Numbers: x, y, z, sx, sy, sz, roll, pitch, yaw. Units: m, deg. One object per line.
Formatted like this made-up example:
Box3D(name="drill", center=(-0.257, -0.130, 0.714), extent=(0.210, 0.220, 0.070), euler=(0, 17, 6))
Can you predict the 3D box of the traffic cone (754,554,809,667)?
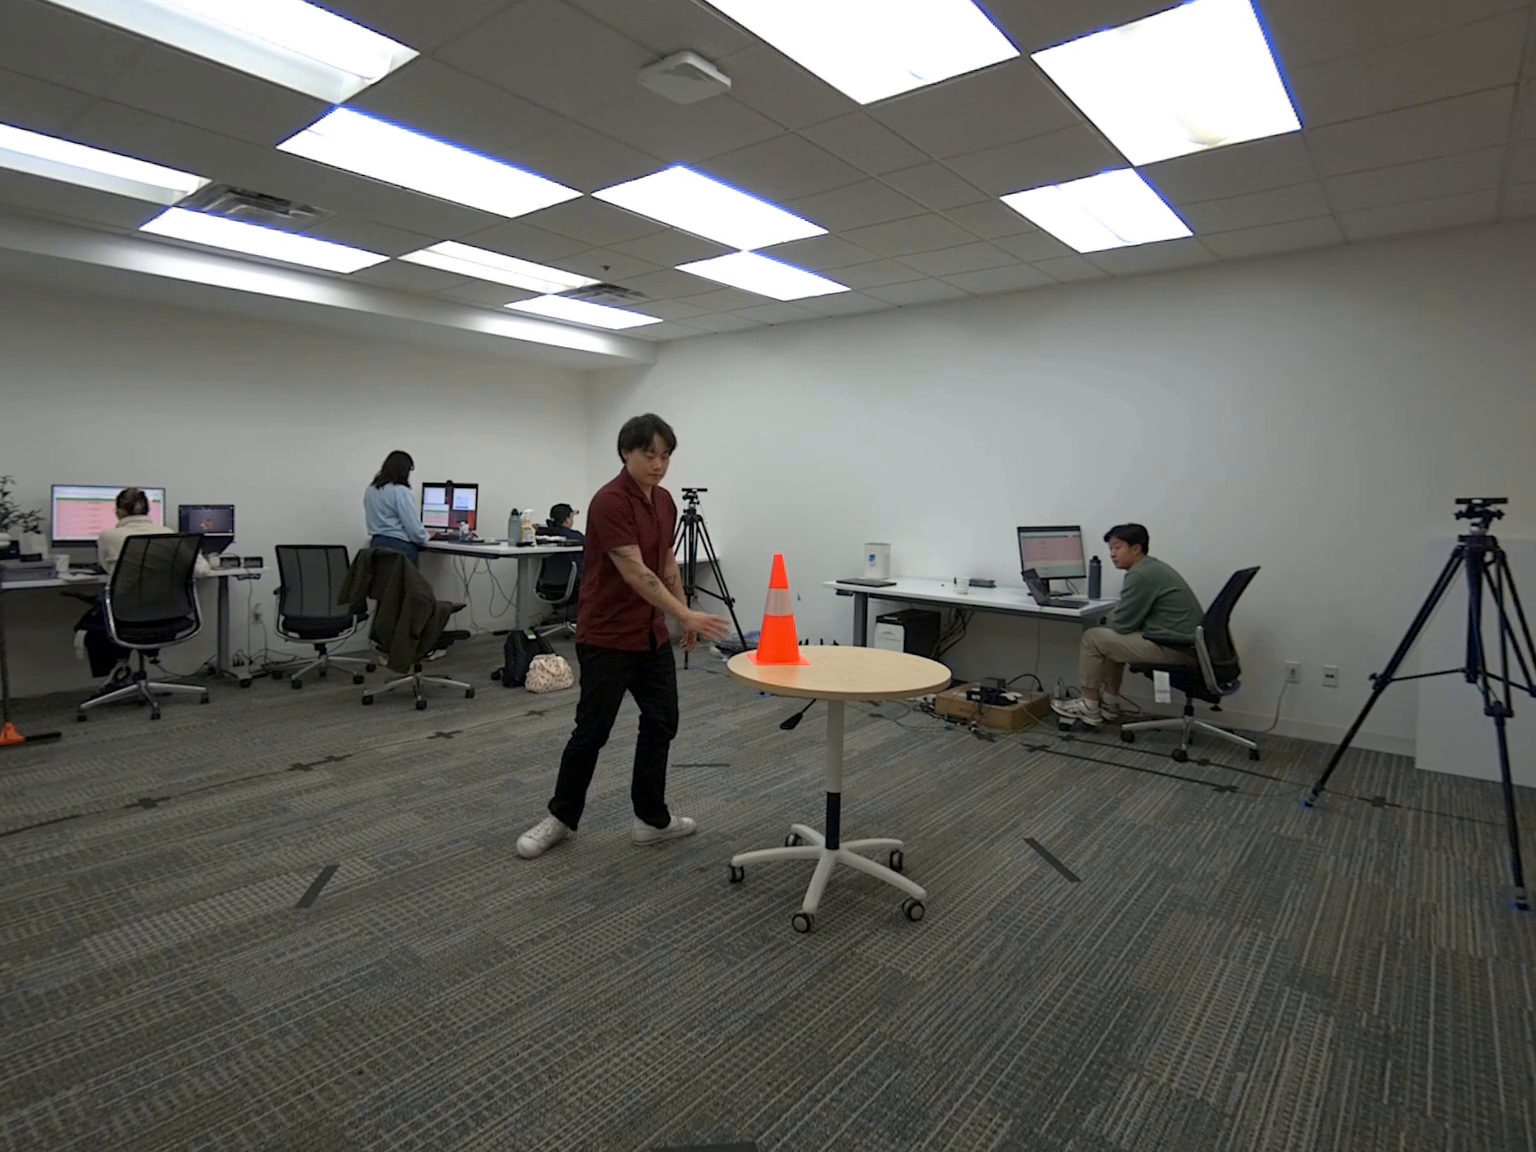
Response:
Box3D(name="traffic cone", center=(0.019, 0.107, 3.040), extent=(0.201, 0.383, 0.207), euler=(-5, 2, -18))
